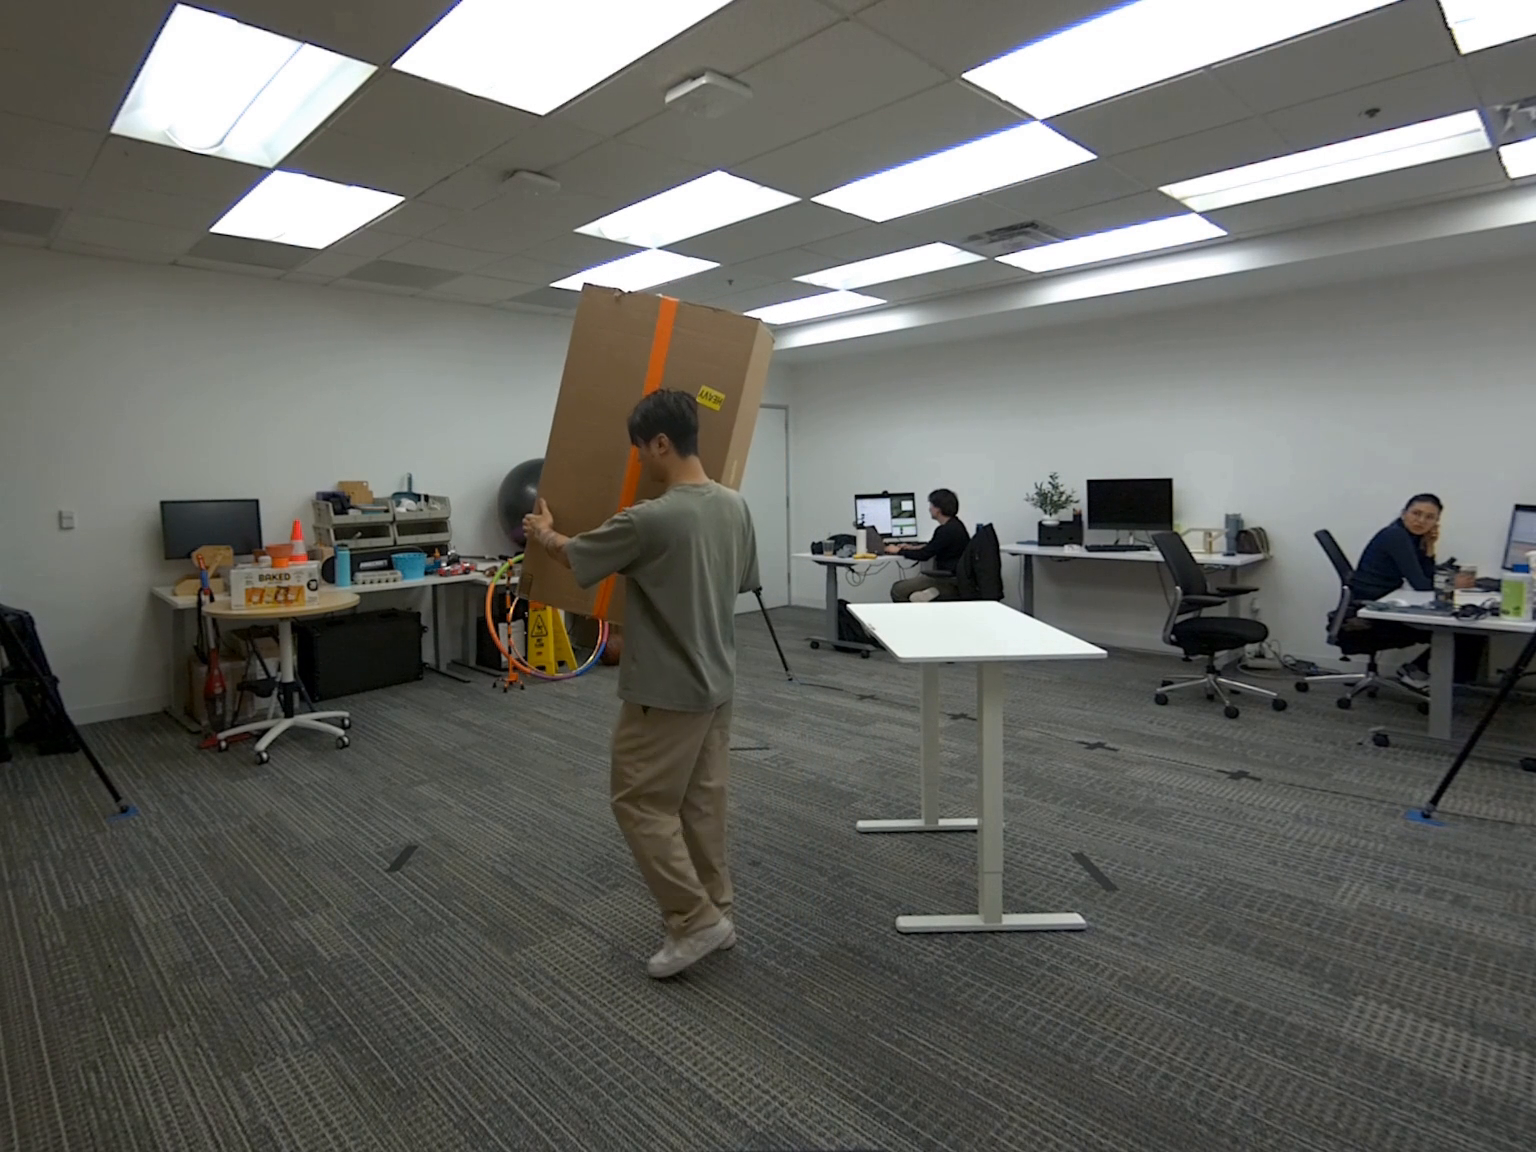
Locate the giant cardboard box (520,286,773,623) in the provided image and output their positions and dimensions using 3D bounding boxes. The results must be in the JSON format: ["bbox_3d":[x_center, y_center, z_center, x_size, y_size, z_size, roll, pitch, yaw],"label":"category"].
[{"bbox_3d":[-0.388,-0.374,2.850,0.583,1.022,0.424,14,5,7],"label":"giant cardboard box"}]
